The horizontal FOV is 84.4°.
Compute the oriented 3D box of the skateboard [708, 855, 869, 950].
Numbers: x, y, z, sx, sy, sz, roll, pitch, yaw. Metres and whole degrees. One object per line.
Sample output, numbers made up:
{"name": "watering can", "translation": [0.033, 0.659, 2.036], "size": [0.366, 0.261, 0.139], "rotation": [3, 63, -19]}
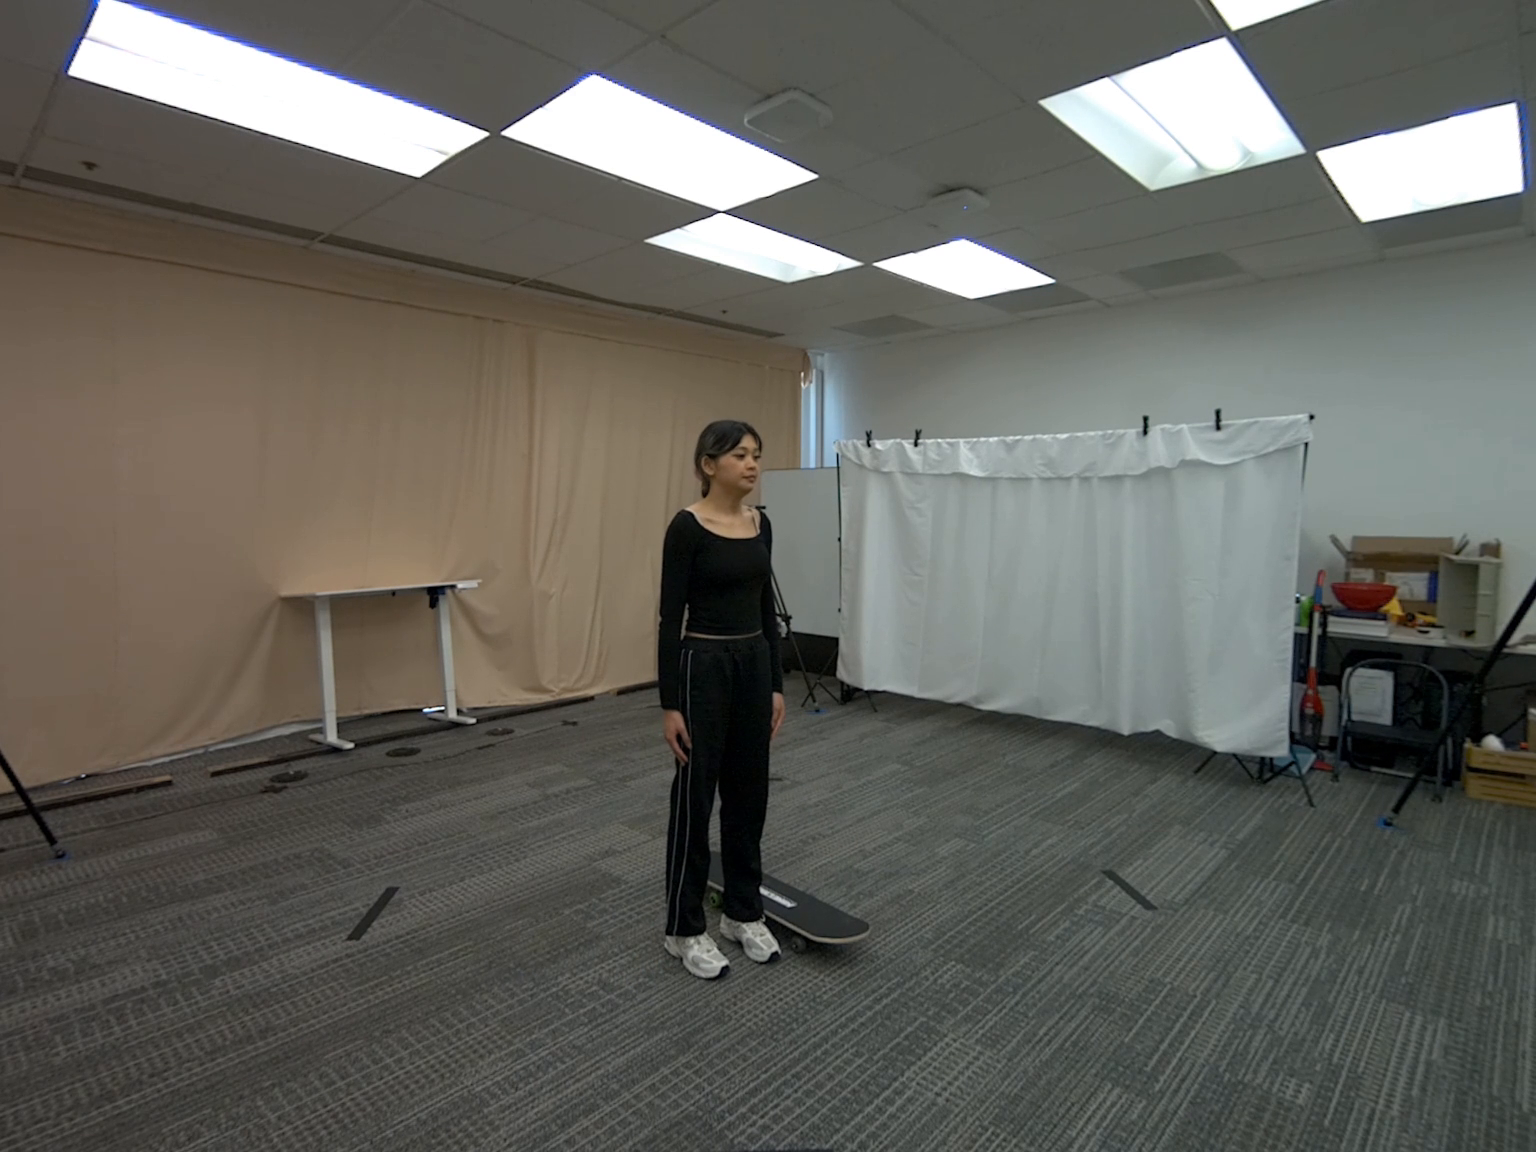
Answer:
{"name": "skateboard", "translation": [0.024, 1.097, 2.828], "size": [0.187, 0.110, 0.812], "rotation": [-3, 5, -42]}
